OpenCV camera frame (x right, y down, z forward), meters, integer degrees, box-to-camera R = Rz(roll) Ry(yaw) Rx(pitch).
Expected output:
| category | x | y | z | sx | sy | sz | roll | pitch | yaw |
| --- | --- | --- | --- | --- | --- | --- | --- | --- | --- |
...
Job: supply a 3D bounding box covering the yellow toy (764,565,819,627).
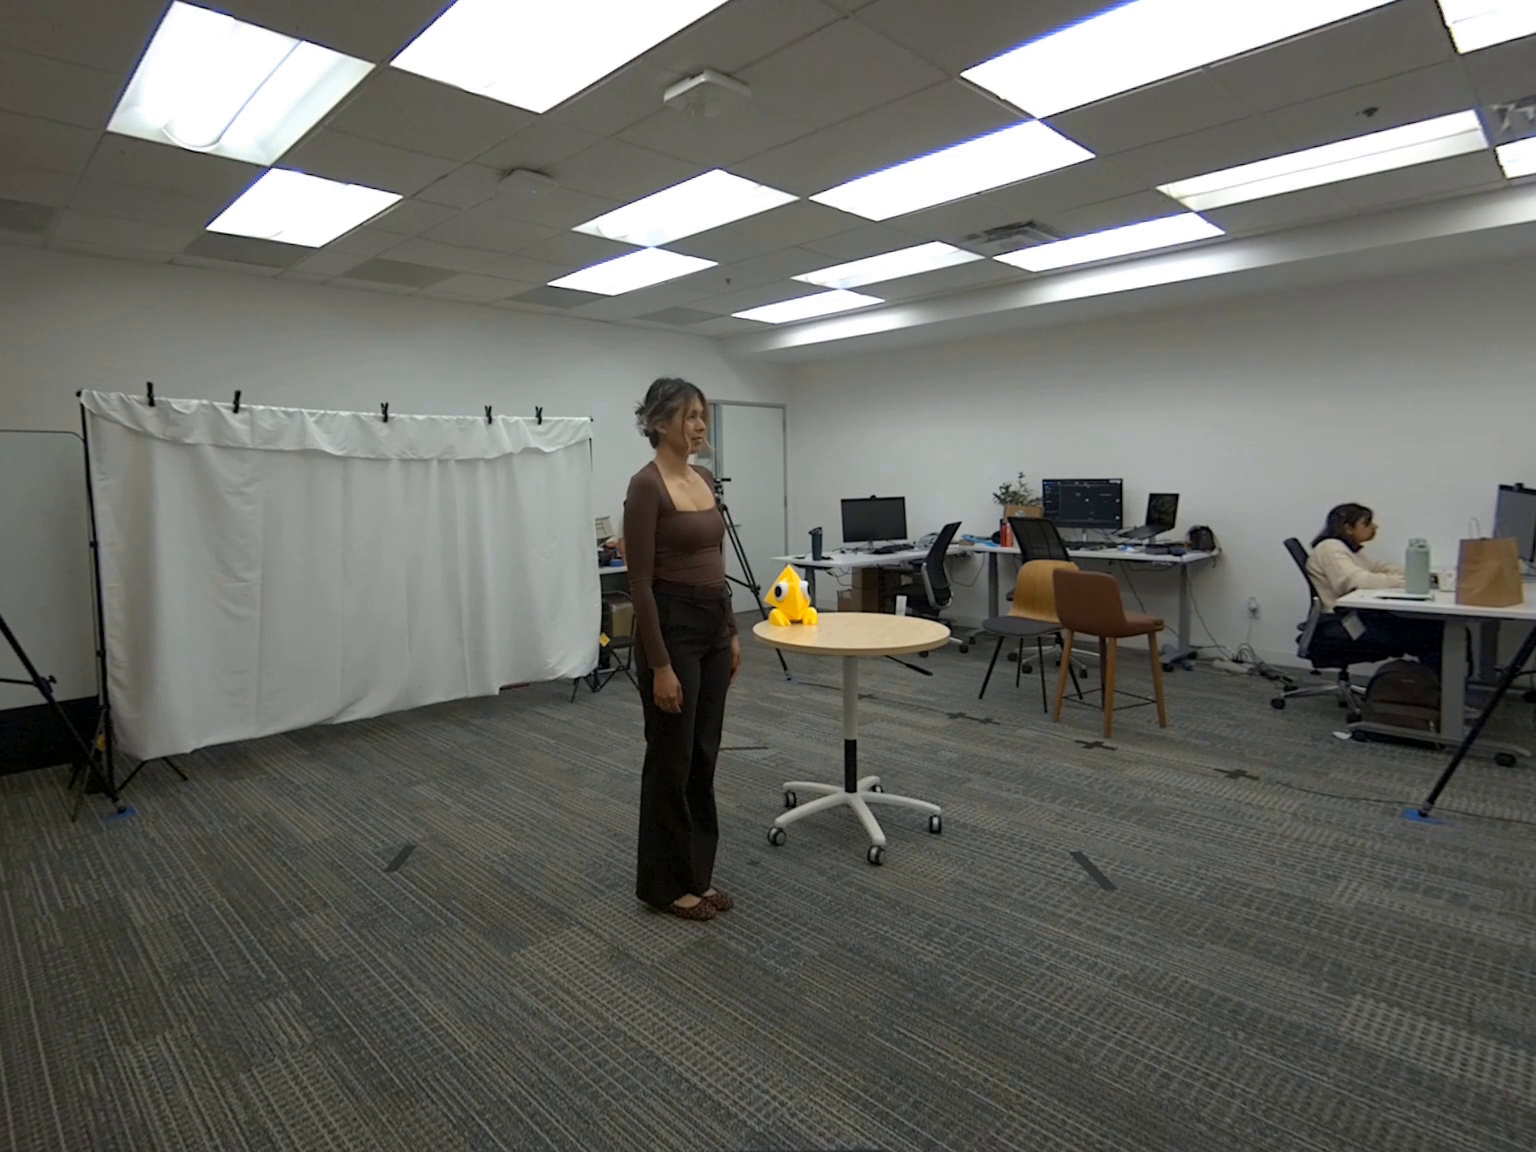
| category | x | y | z | sx | sy | sz | roll | pitch | yaw |
| --- | --- | --- | --- | --- | --- | --- | --- | --- | --- |
| yellow toy | 0.108 | 0.076 | 3.542 | 0.203 | 0.230 | 0.196 | -2 | 5 | -12 |
